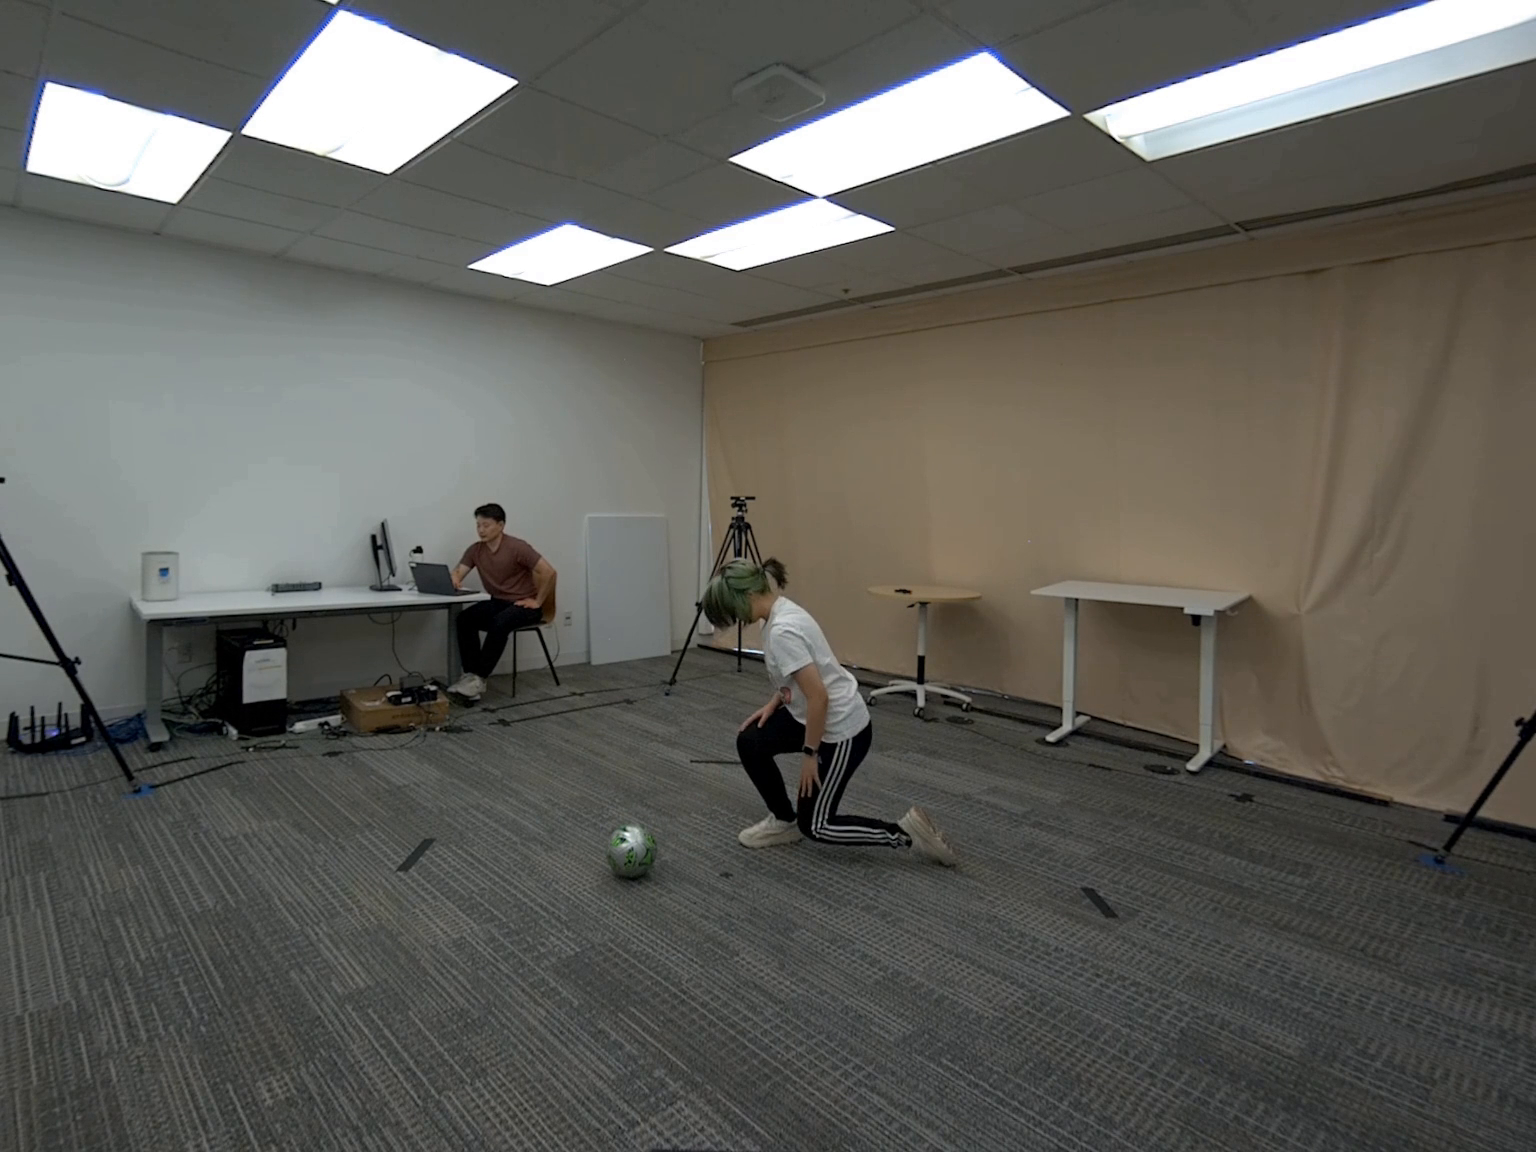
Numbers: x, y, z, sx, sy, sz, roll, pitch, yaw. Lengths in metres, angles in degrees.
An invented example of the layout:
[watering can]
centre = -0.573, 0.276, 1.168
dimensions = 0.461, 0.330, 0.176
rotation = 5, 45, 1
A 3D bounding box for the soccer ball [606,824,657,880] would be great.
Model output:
[soccer ball]
centre = -0.504, 1.009, 3.078
dimensions = 0.187, 0.187, 0.188
rotation = 1, 4, -1
